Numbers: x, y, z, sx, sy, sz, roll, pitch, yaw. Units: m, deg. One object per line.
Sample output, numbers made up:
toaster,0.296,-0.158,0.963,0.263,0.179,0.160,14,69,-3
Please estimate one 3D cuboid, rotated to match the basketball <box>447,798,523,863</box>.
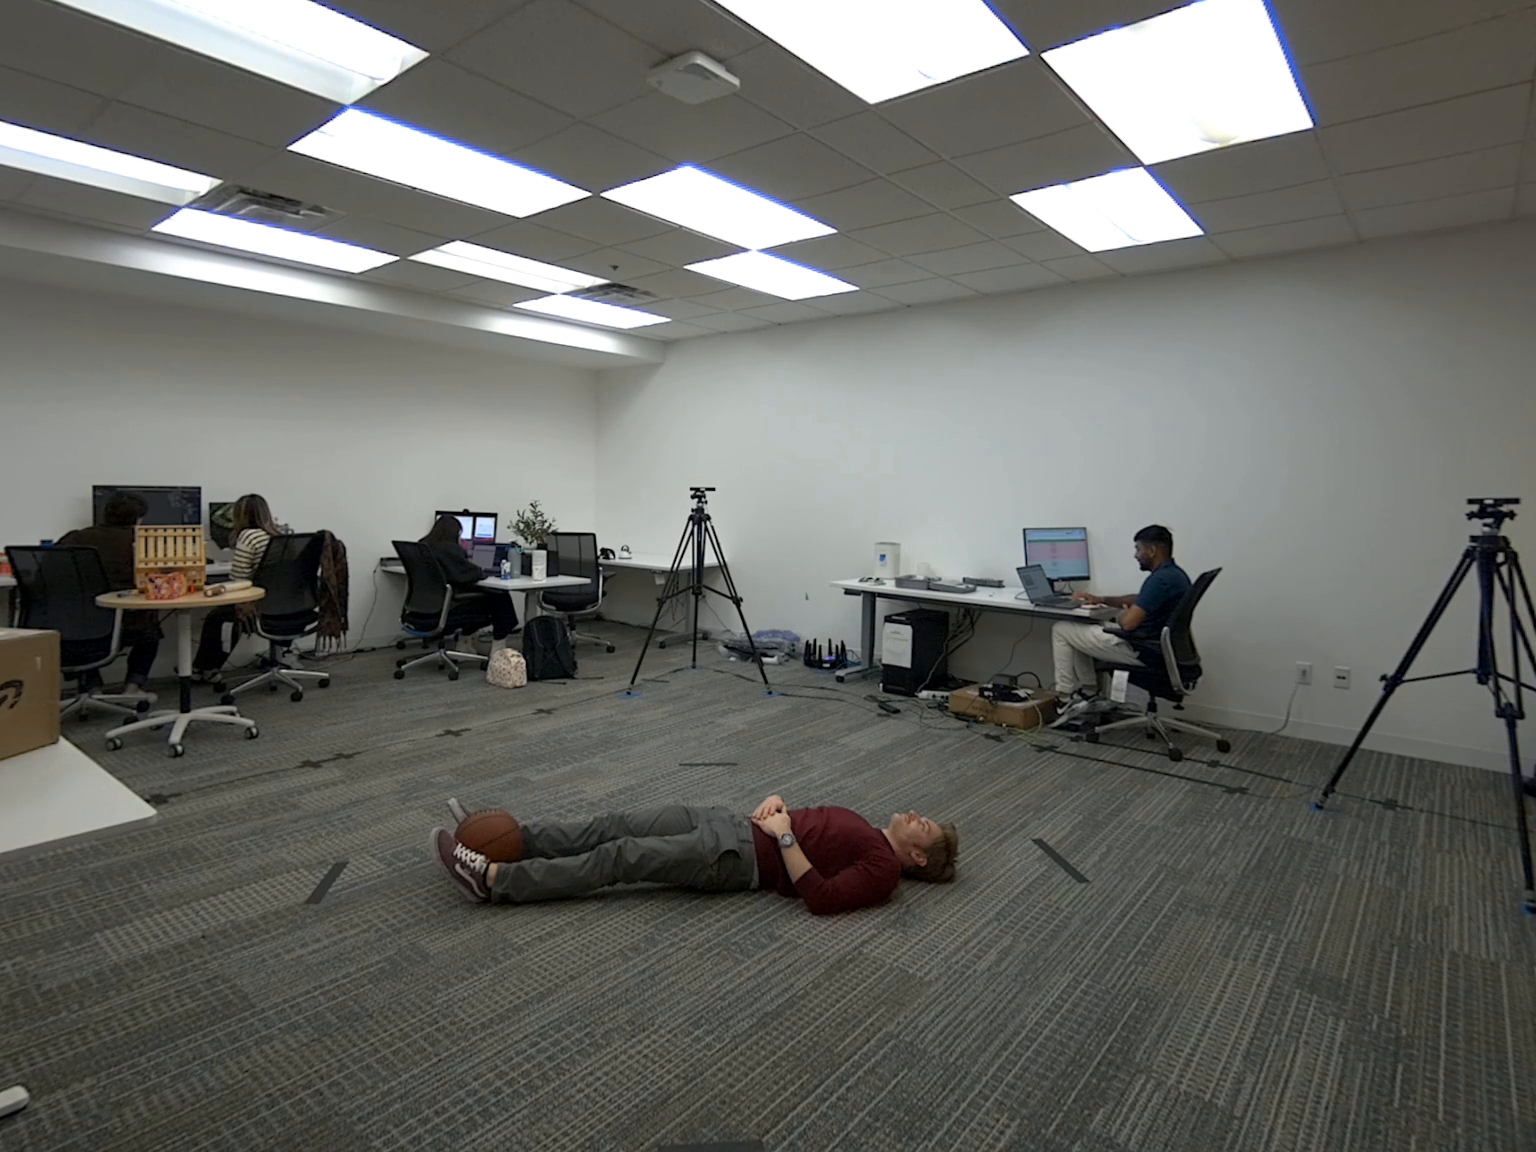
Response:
basketball,-0.990,0.931,2.966,0.236,0.235,0.237,-3,3,-2
